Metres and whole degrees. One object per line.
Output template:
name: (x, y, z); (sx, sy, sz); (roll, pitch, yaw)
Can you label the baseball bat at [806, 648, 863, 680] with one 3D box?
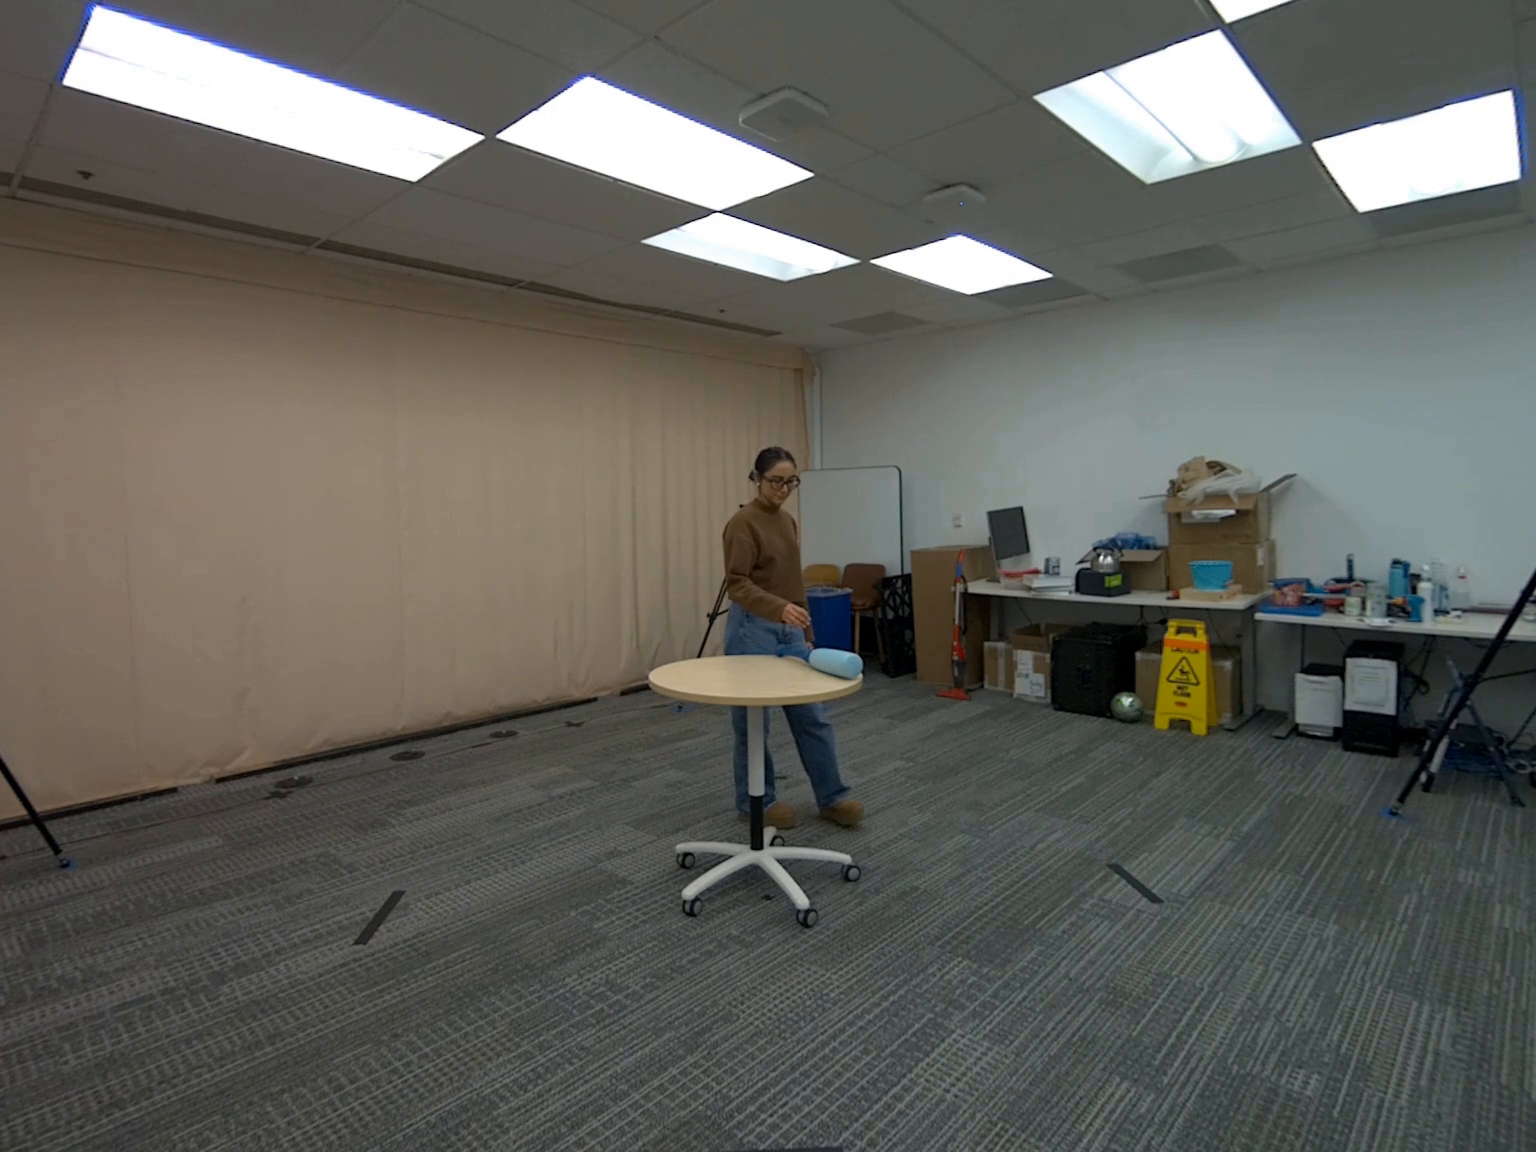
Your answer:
baseball bat: (0.180, 0.310, 3.138); (0.087, 0.089, 0.555); (-2, 1, -24)
